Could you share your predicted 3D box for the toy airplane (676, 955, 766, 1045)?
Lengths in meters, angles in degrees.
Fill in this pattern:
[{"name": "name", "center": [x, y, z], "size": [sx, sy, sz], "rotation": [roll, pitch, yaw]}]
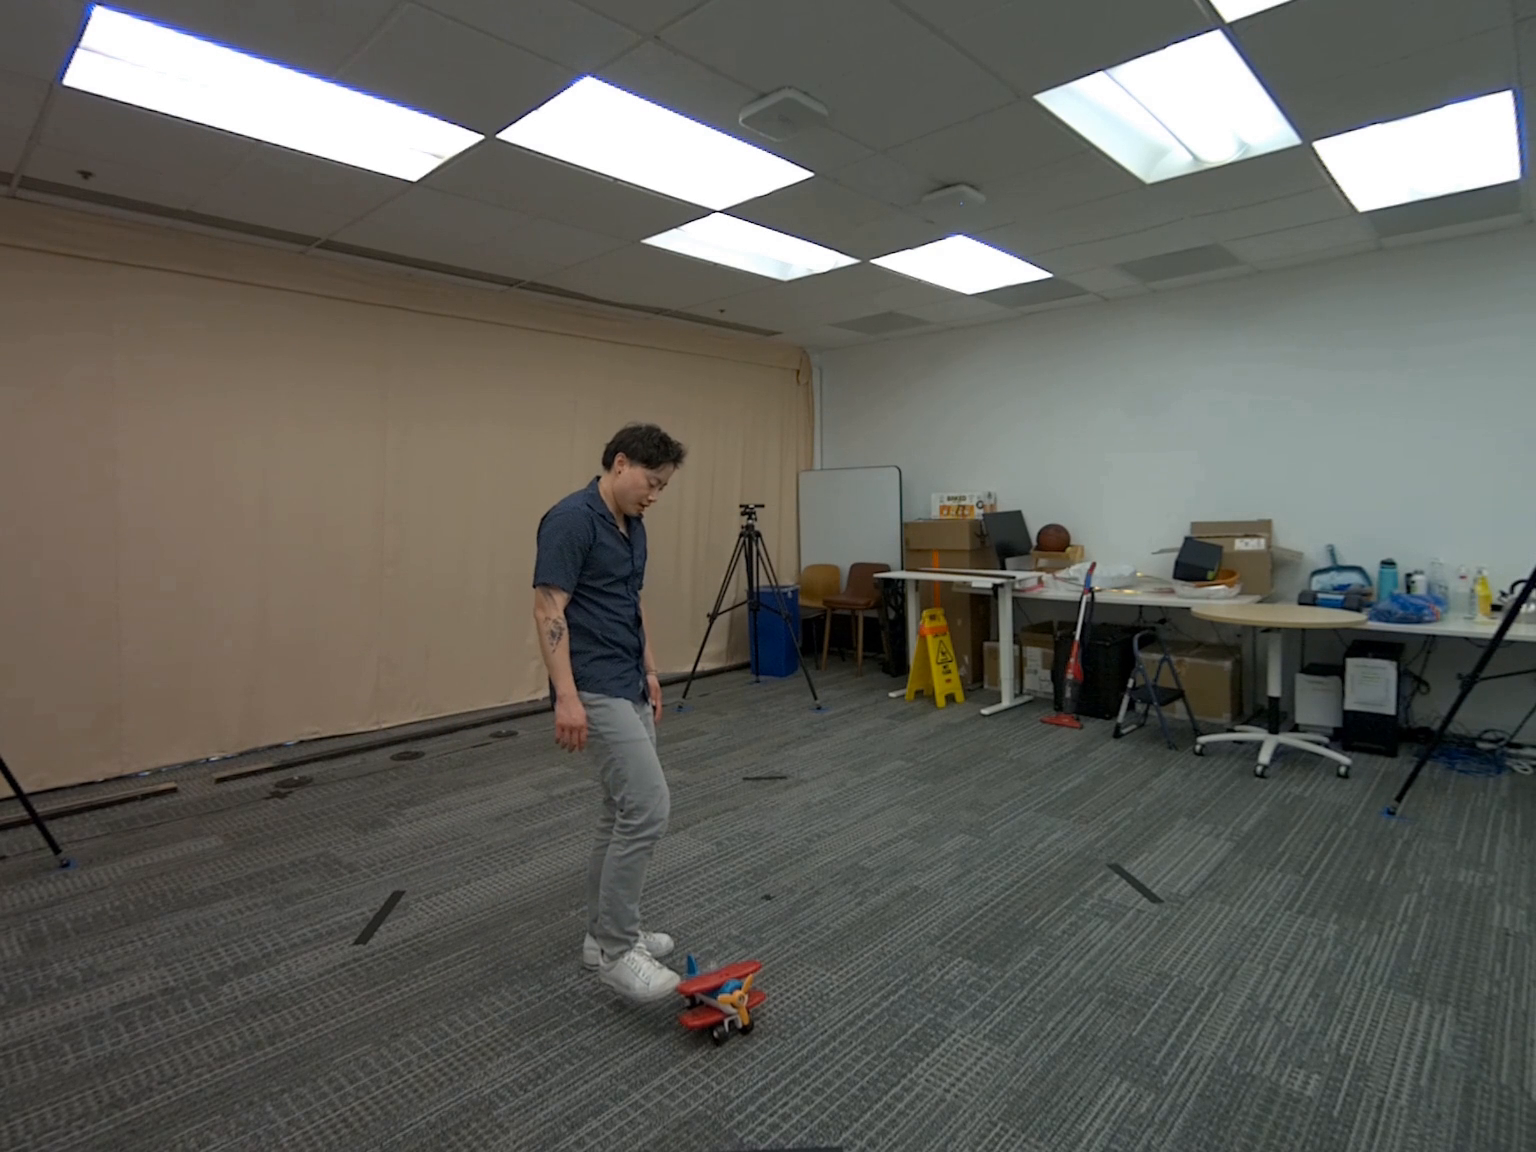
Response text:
[{"name": "toy airplane", "center": [-0.154, 1.132, 2.250], "size": [0.266, 0.156, 0.245], "rotation": [3, 4, 27]}]
